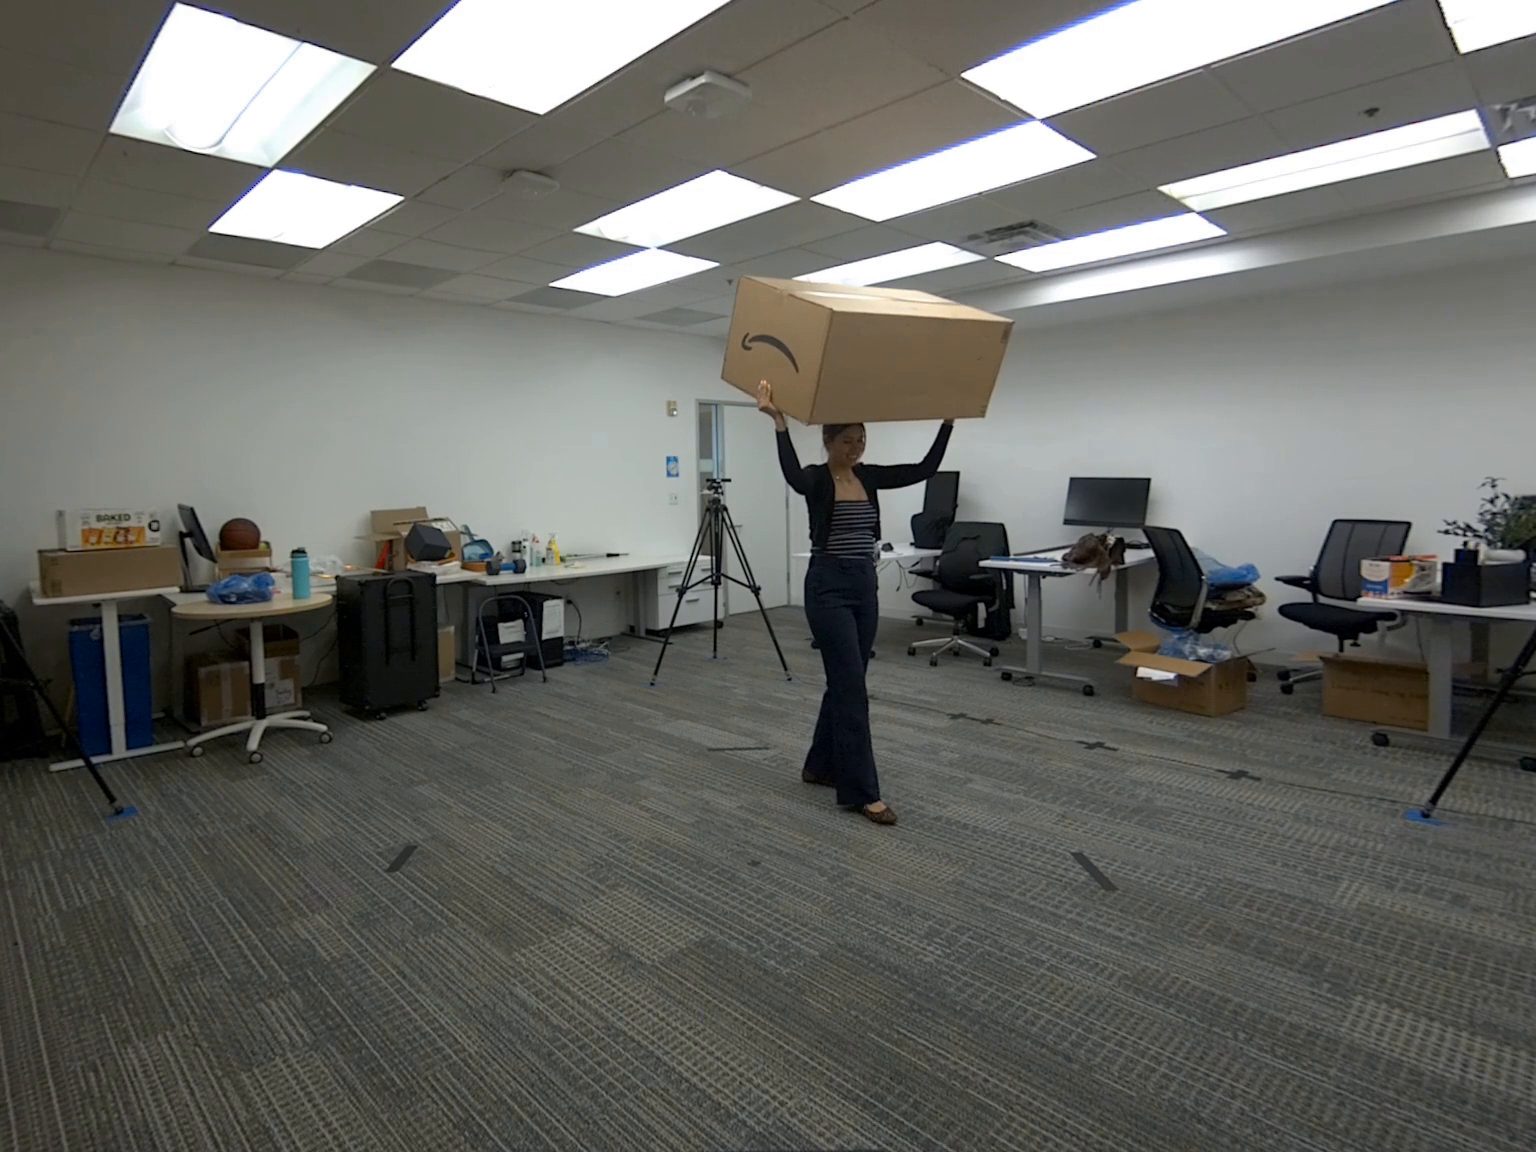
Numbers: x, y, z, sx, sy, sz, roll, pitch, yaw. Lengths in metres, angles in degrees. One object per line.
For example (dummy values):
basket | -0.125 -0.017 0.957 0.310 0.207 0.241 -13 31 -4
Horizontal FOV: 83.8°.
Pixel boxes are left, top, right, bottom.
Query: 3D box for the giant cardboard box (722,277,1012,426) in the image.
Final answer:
giant cardboard box | 0.405 -0.927 3.522 1.002 0.419 0.601 -9 31 -36
